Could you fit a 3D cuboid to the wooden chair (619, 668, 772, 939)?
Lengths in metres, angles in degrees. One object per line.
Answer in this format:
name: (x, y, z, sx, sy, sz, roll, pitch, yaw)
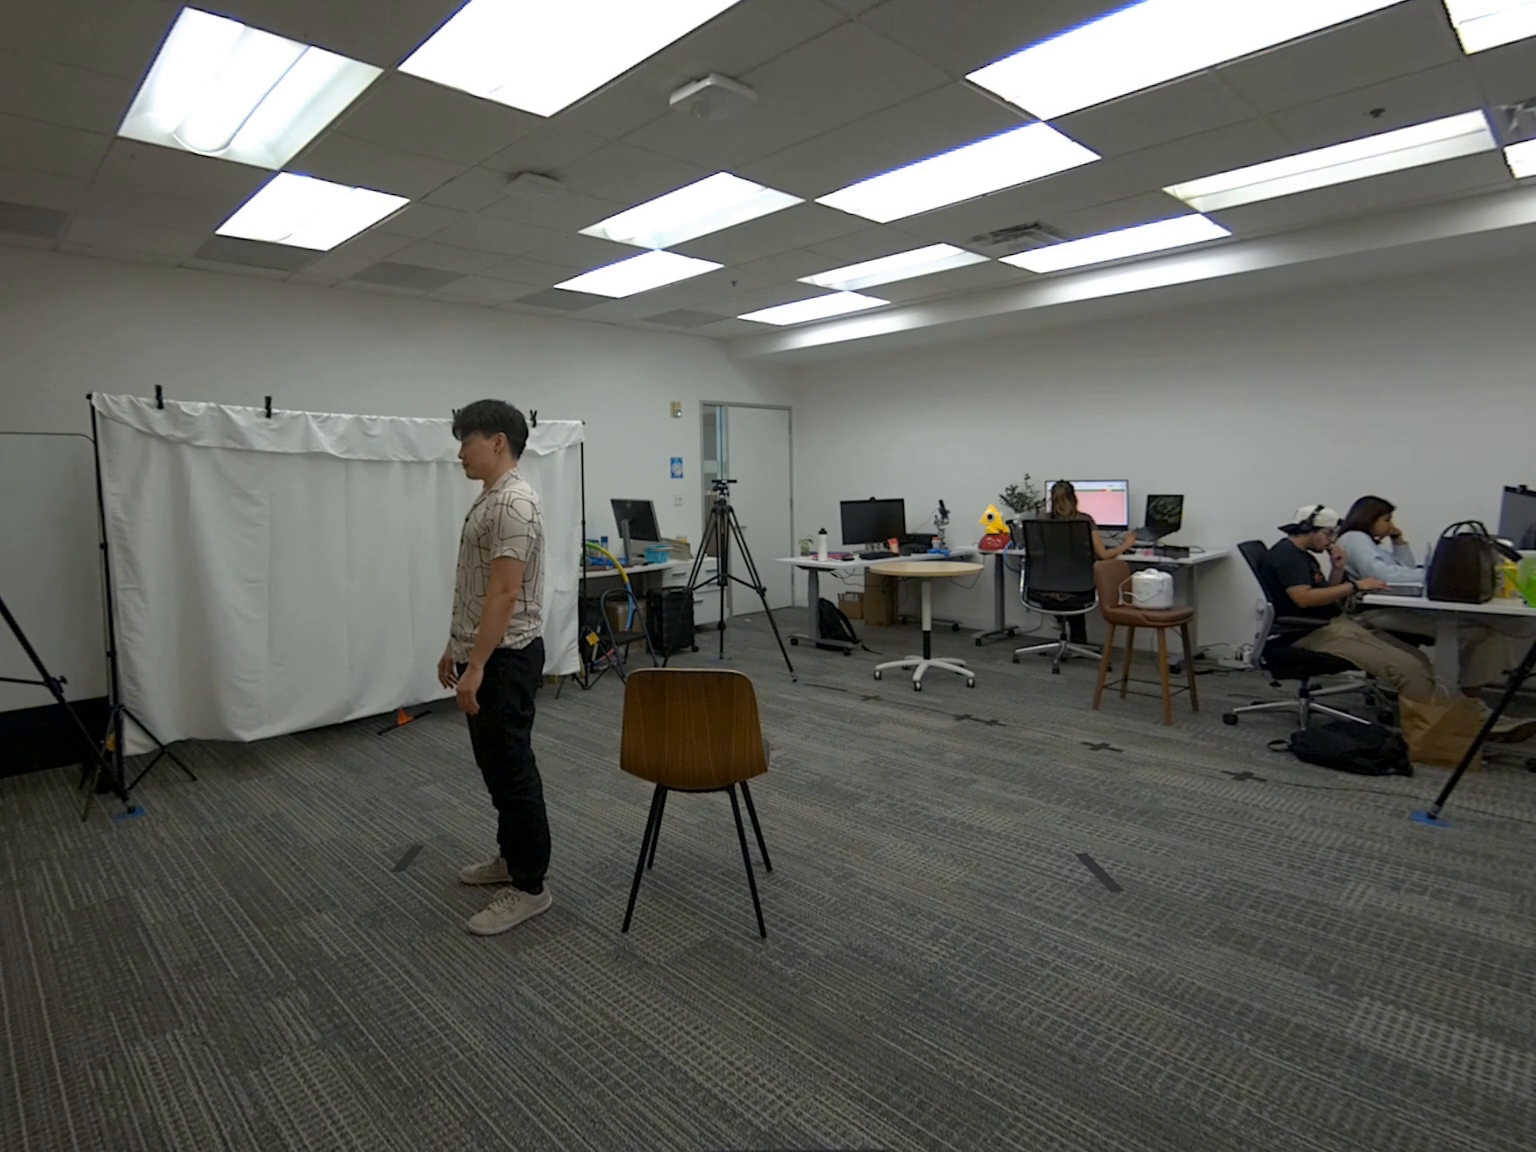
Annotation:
wooden chair: (-0.229, 0.656, 2.827, 0.481, 0.870, 0.525, -1, 9, 4)
